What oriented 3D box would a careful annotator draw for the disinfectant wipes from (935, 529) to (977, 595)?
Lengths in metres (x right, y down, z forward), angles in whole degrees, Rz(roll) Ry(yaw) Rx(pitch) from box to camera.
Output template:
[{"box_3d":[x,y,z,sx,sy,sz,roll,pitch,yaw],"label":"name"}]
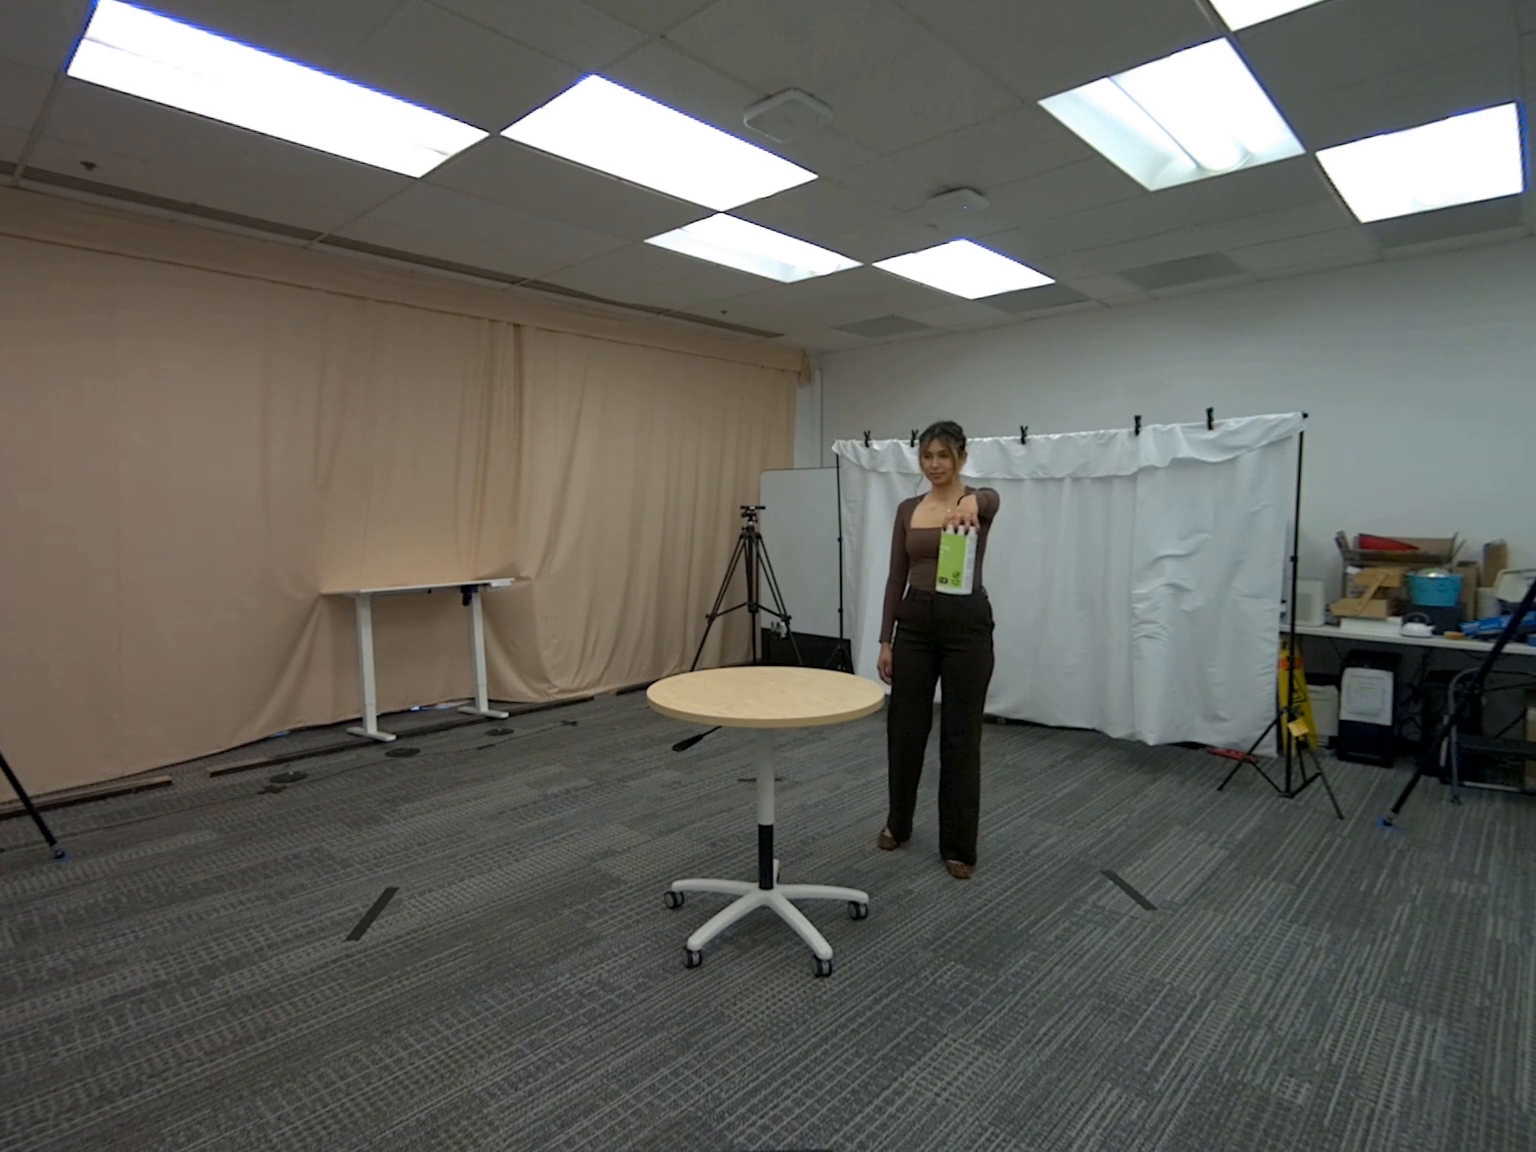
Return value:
[{"box_3d":[0.597,-0.052,2.679,0.117,0.217,0.118,3,5,-2],"label":"disinfectant wipes"}]
